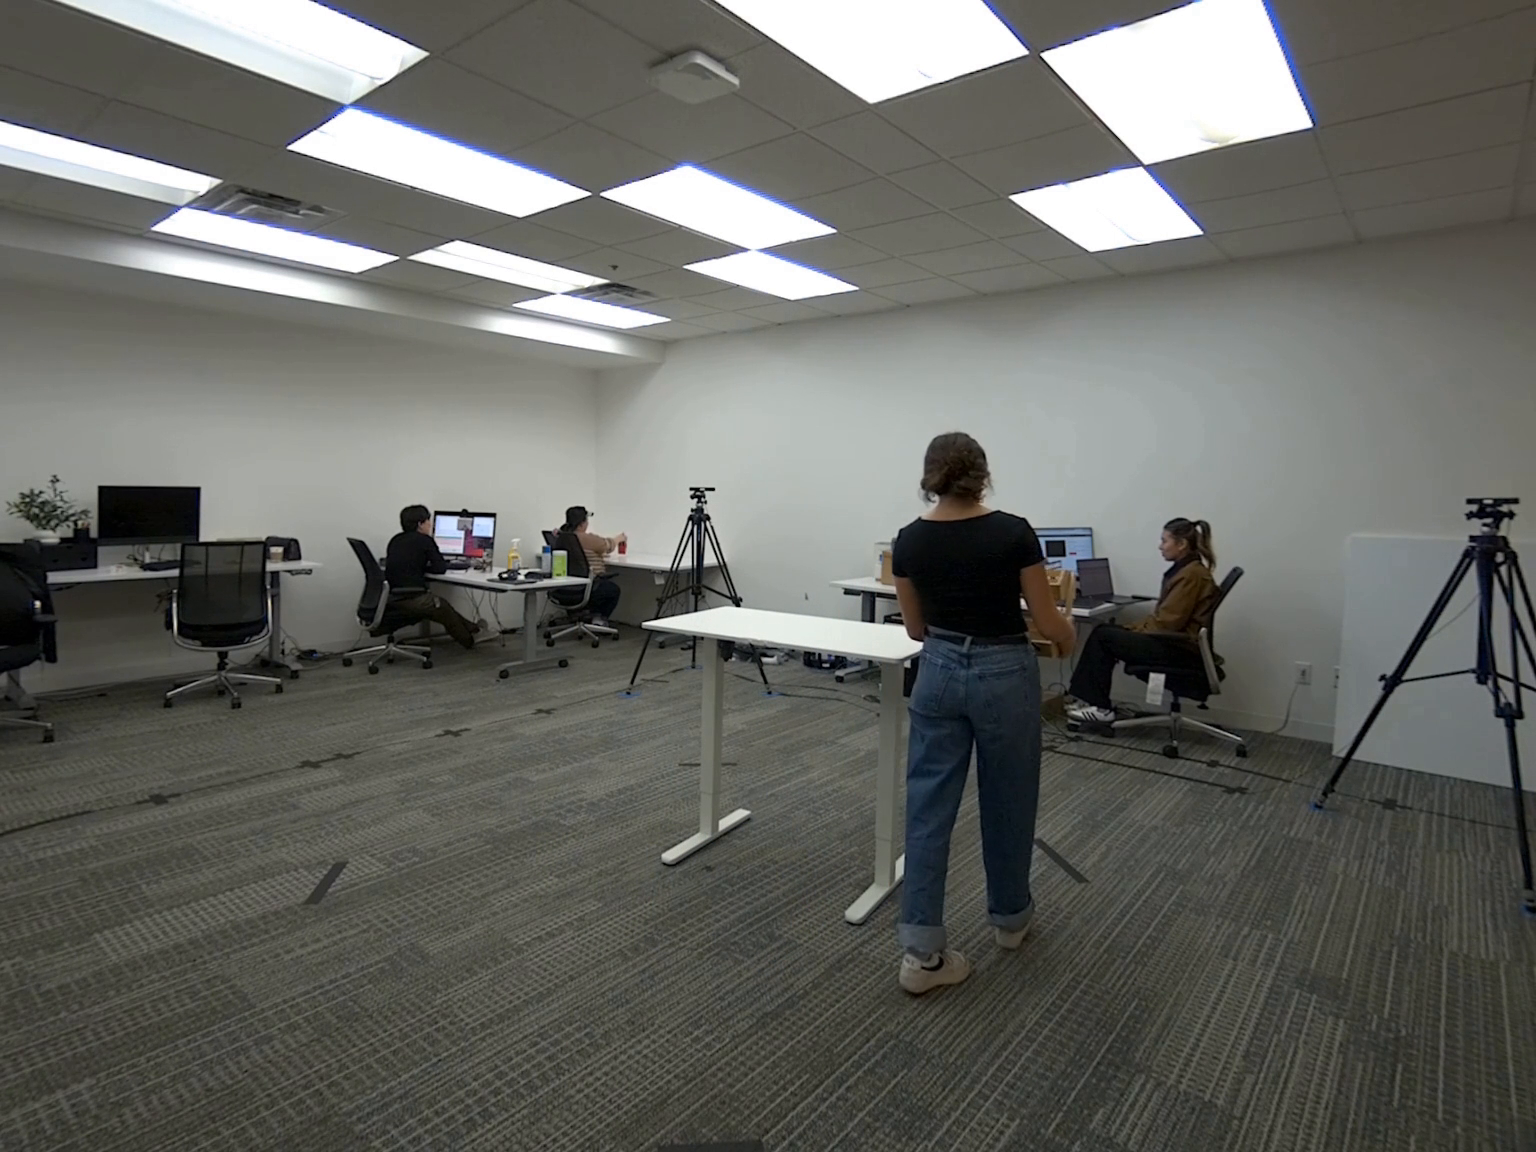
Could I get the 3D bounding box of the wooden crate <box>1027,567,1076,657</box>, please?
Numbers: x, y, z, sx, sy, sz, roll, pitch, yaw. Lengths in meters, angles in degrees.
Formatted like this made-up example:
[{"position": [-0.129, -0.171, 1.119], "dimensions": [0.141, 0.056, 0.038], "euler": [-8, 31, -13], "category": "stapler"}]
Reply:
[{"position": [0.784, 0.098, 2.724], "dimensions": [0.334, 0.273, 0.293], "euler": [2, 0, 34], "category": "wooden crate"}]
